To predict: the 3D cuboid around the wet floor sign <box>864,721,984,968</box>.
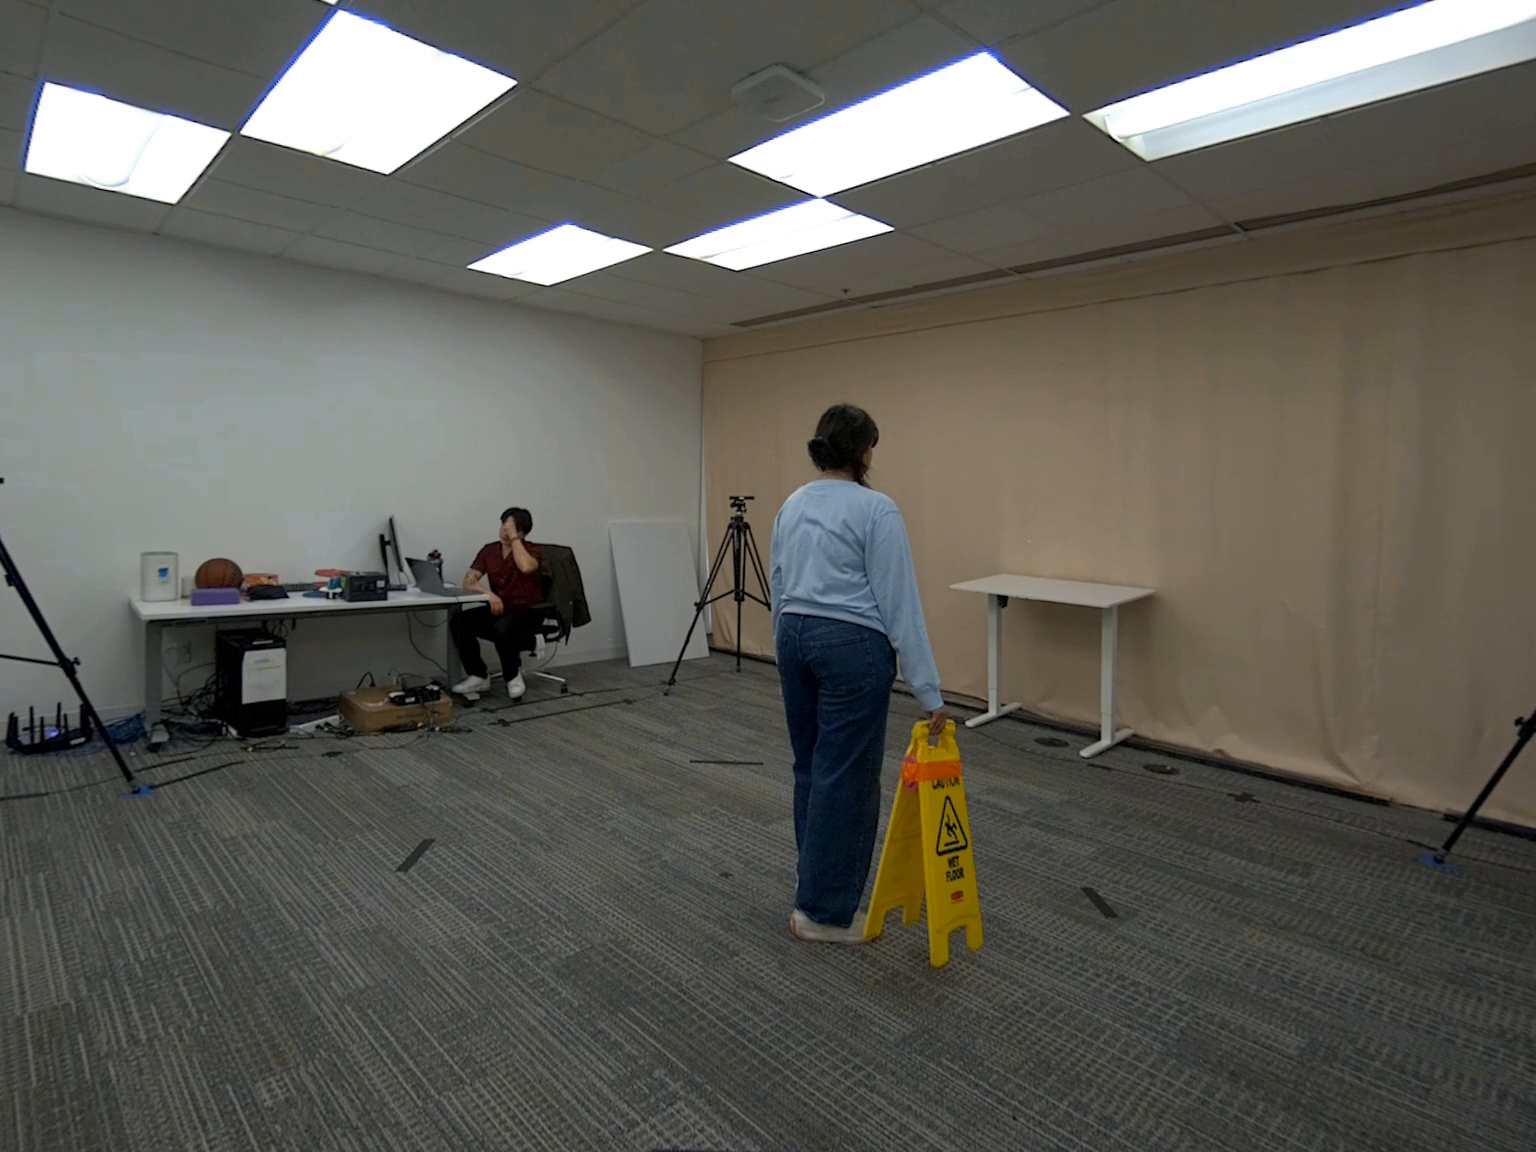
[{"bbox_3d":[0.477,0.763,2.523,0.297,0.647,0.275,1,-5,45],"label":"wet floor sign"}]
